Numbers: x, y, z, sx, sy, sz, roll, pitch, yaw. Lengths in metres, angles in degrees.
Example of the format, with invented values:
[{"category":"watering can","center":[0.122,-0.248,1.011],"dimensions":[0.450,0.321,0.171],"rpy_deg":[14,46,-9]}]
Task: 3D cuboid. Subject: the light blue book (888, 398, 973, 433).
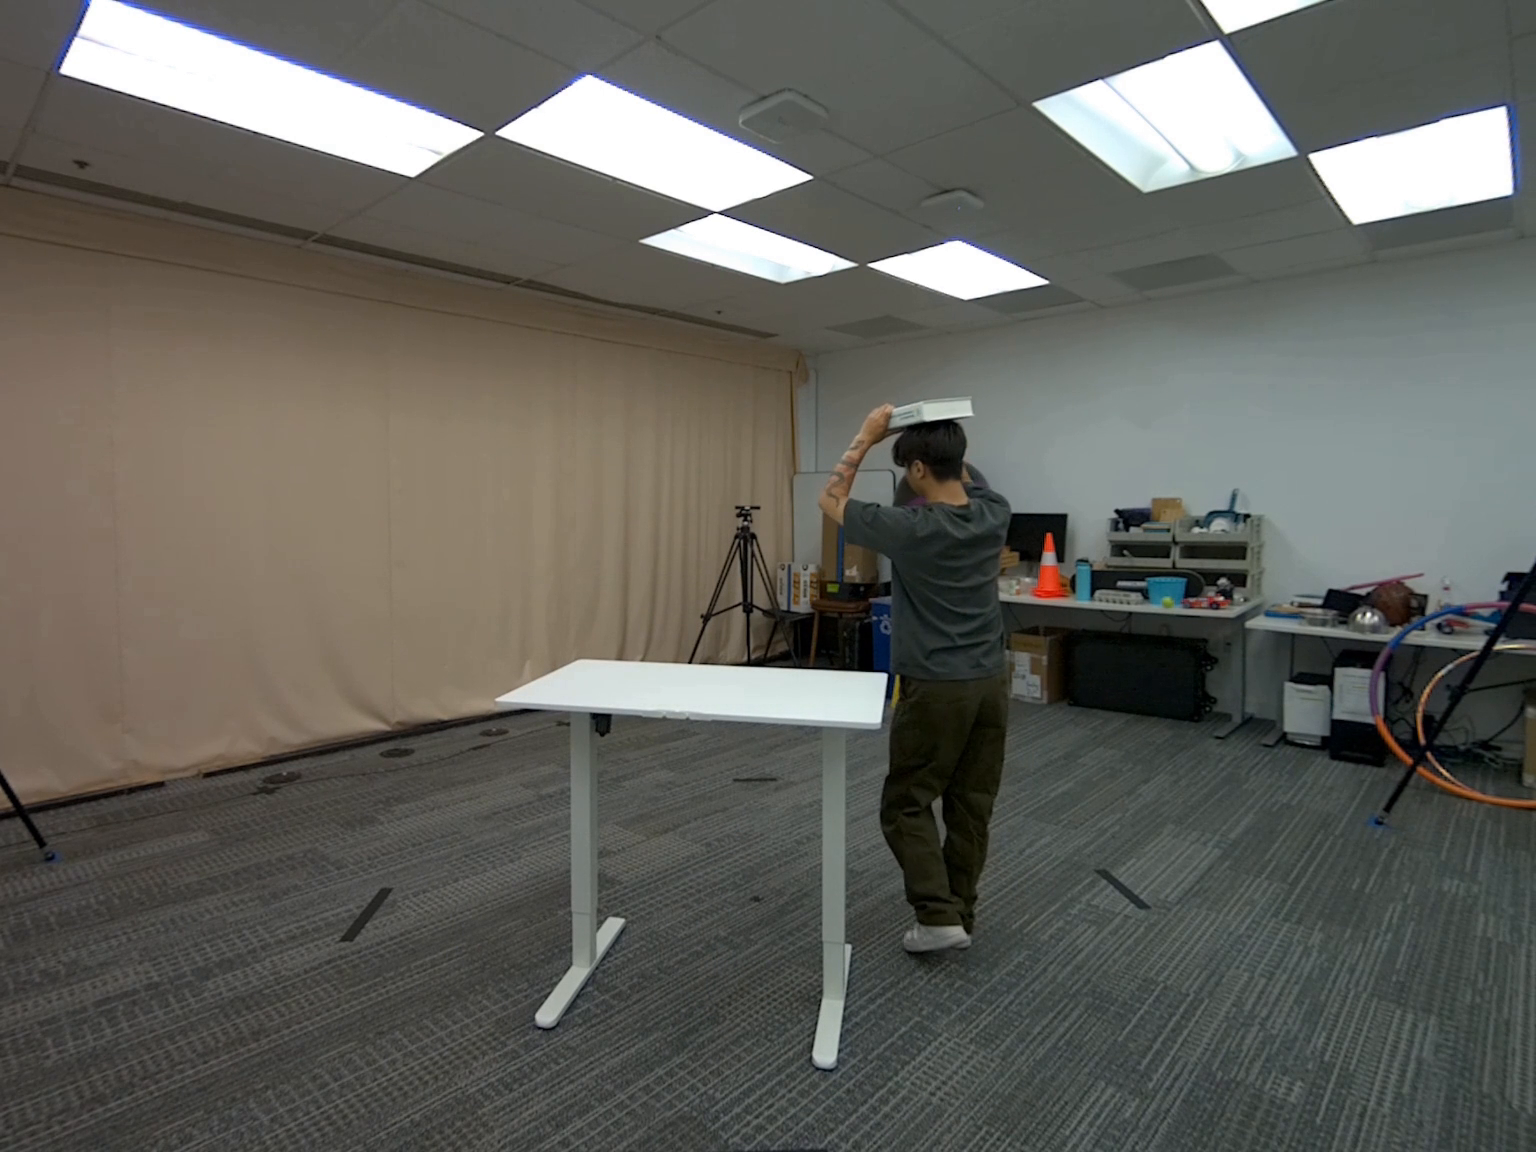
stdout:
[{"category":"light blue book","center":[0.484,-0.500,2.613],"dimensions":[0.188,0.059,0.266],"rpy_deg":[-10,4,-20]}]
